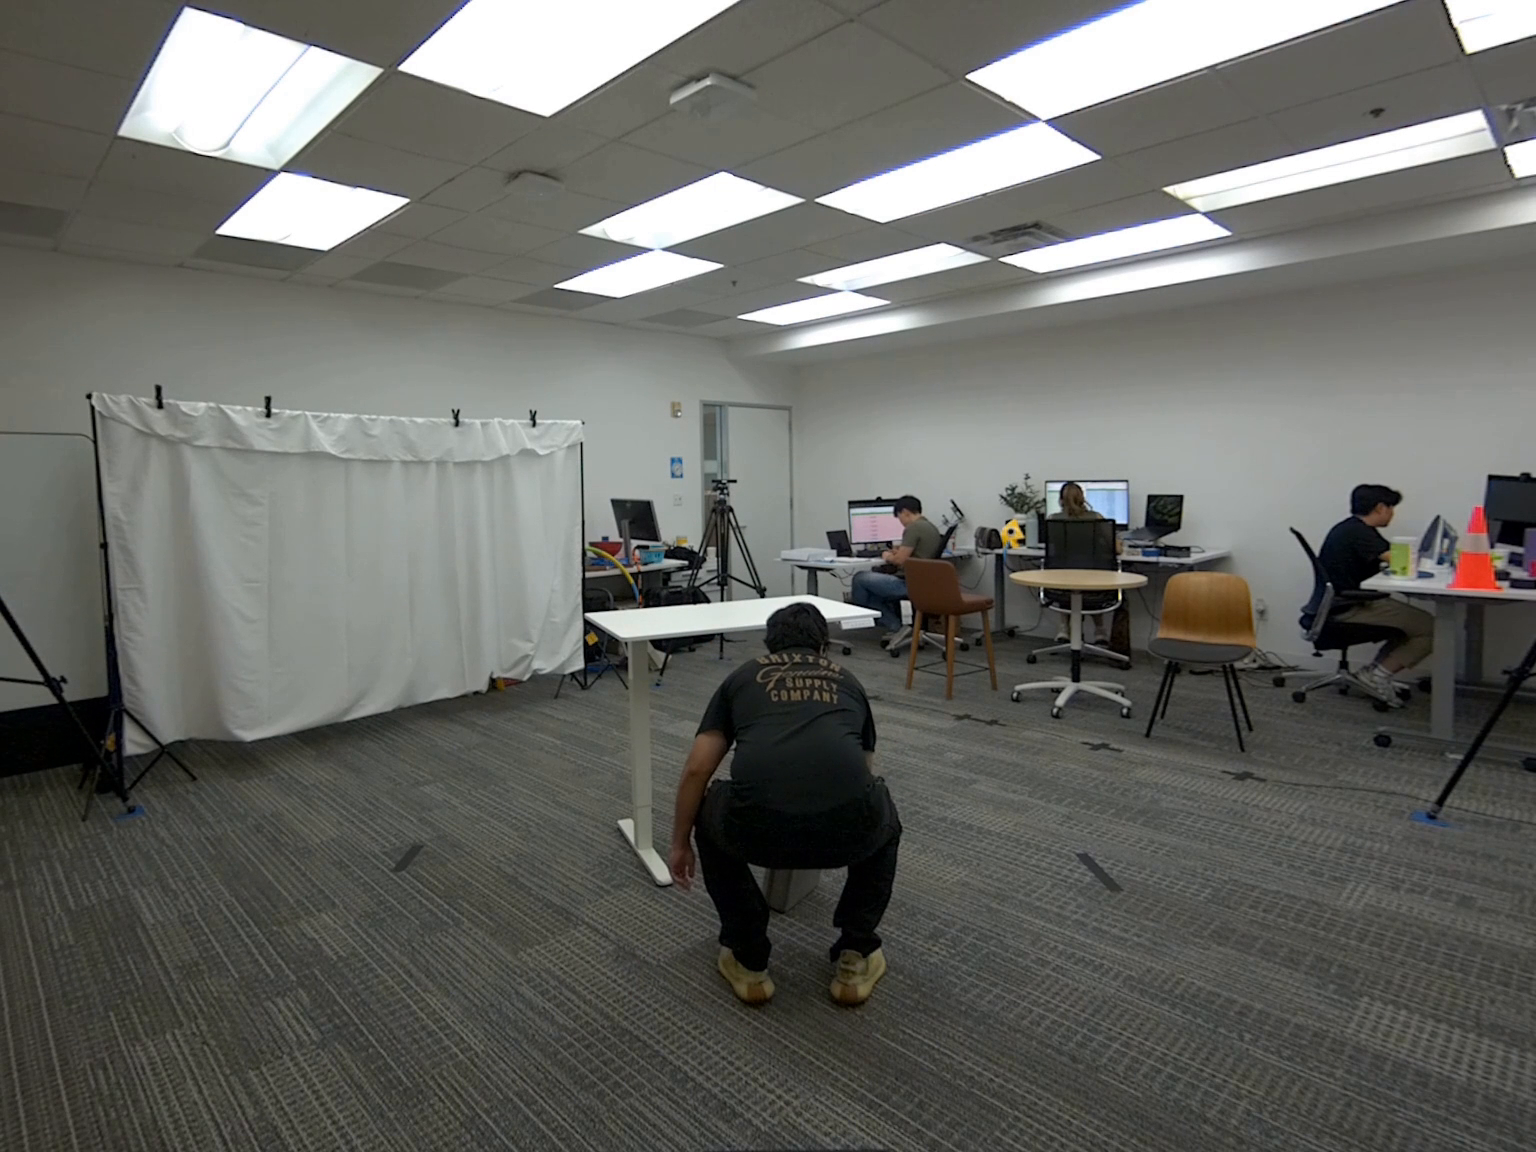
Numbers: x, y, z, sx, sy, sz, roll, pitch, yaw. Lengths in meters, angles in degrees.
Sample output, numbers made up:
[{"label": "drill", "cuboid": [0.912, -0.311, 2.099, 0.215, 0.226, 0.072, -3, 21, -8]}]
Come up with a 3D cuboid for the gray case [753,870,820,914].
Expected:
[{"label": "gray case", "cuboid": [0.100, 0.945, 2.842, 0.108, 0.258, 0.251, 14, 13, 33]}]
